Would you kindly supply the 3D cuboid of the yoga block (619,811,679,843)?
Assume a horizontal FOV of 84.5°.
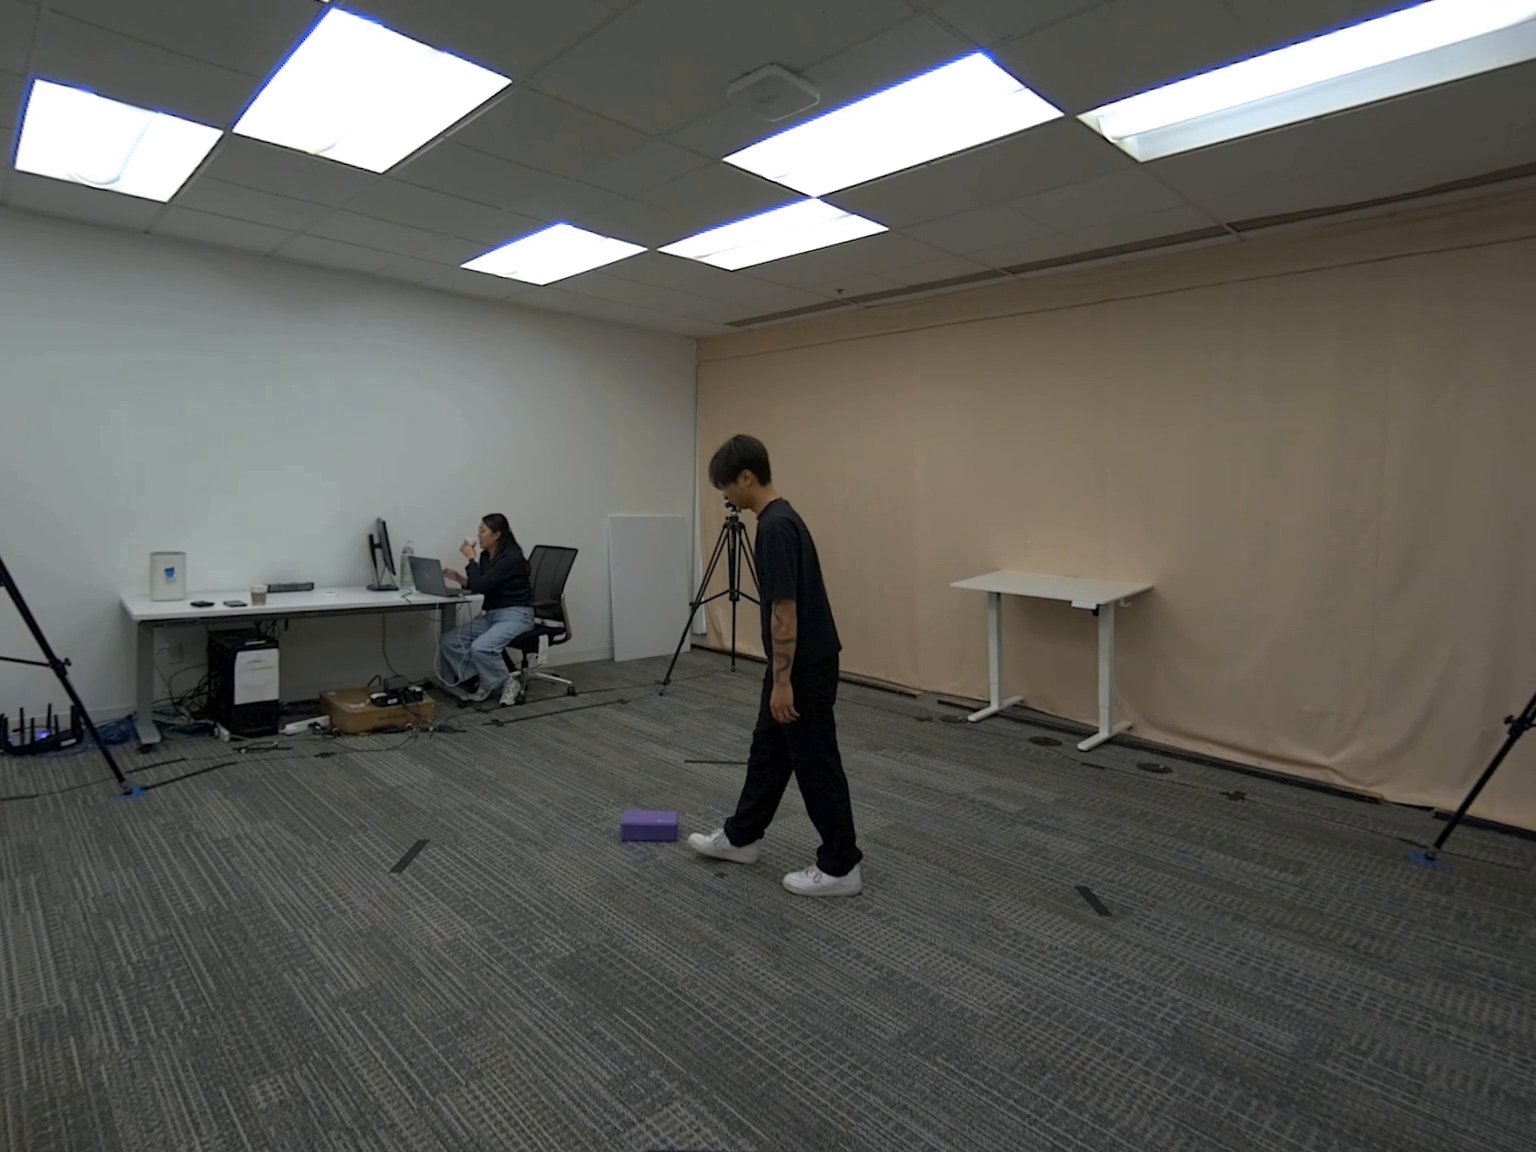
[{"bbox_3d":[-0.494,1.023,3.458,0.229,0.076,0.150,0,6,-2],"label":"yoga block"}]
